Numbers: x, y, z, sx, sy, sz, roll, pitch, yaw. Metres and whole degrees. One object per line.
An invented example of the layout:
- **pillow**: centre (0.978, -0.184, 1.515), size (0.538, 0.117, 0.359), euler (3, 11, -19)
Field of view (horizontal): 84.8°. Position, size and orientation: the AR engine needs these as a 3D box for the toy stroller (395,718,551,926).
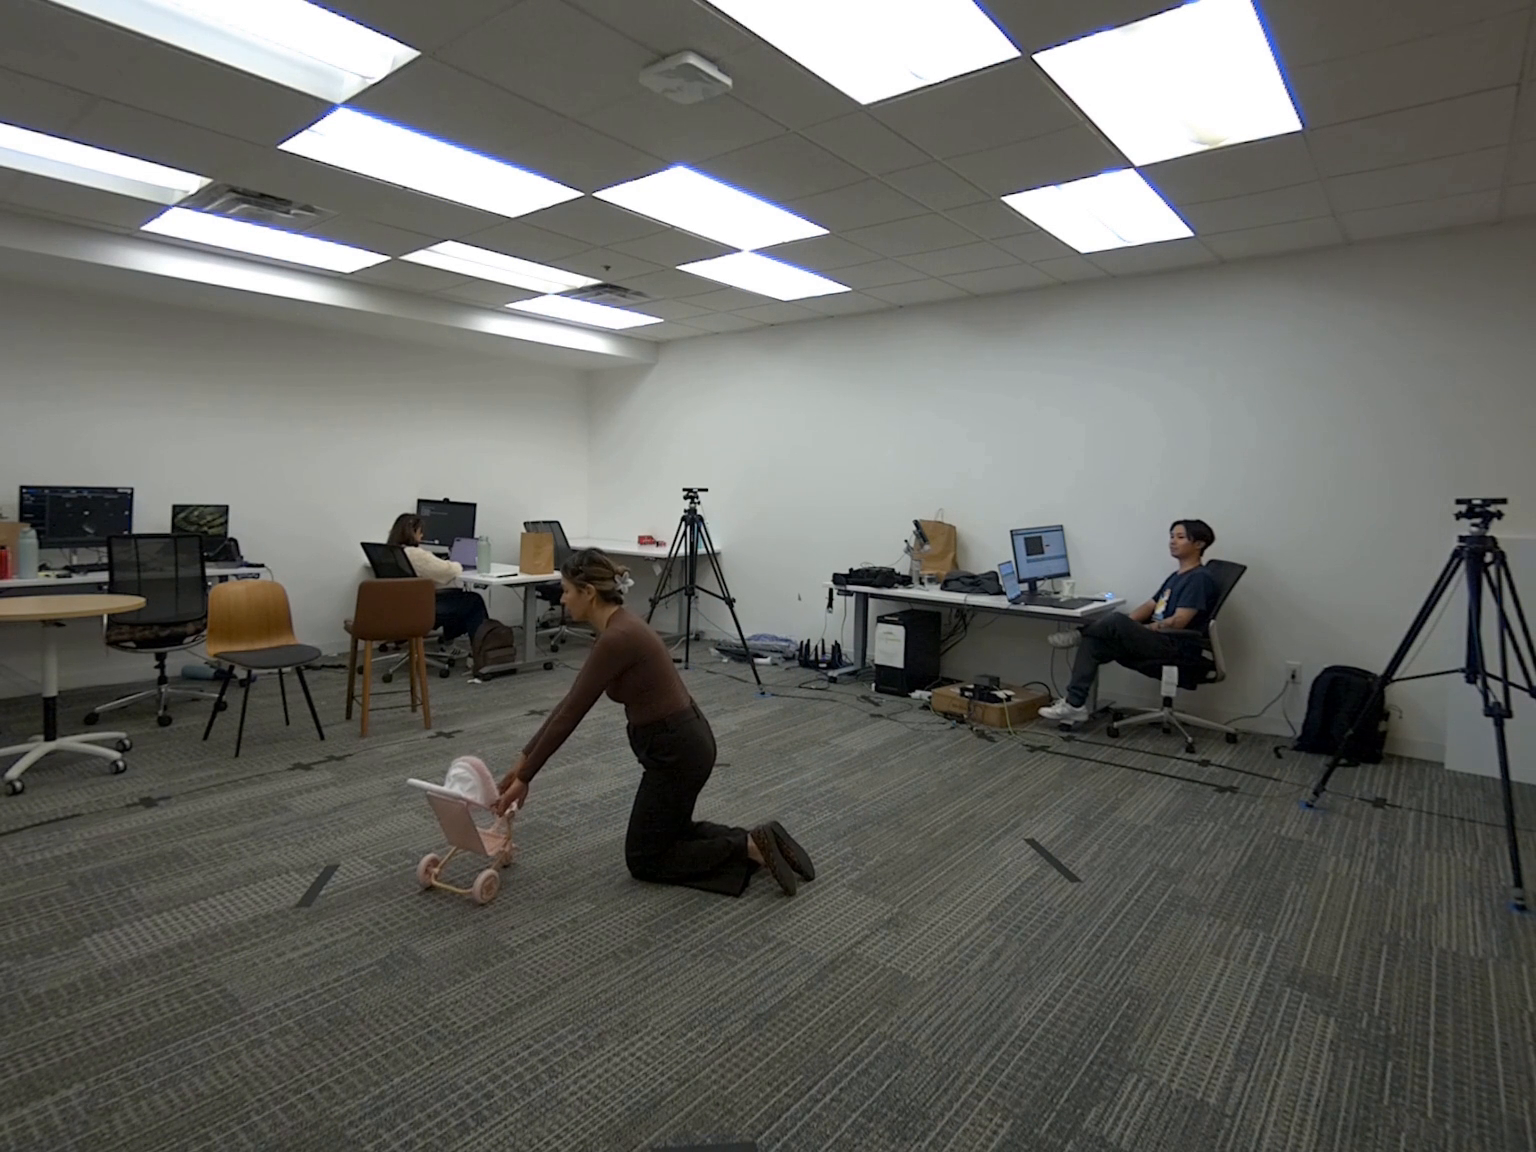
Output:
- **toy stroller**: centre (-1.019, 0.840, 2.936), size (0.289, 0.525, 0.338), euler (6, 21, 27)
